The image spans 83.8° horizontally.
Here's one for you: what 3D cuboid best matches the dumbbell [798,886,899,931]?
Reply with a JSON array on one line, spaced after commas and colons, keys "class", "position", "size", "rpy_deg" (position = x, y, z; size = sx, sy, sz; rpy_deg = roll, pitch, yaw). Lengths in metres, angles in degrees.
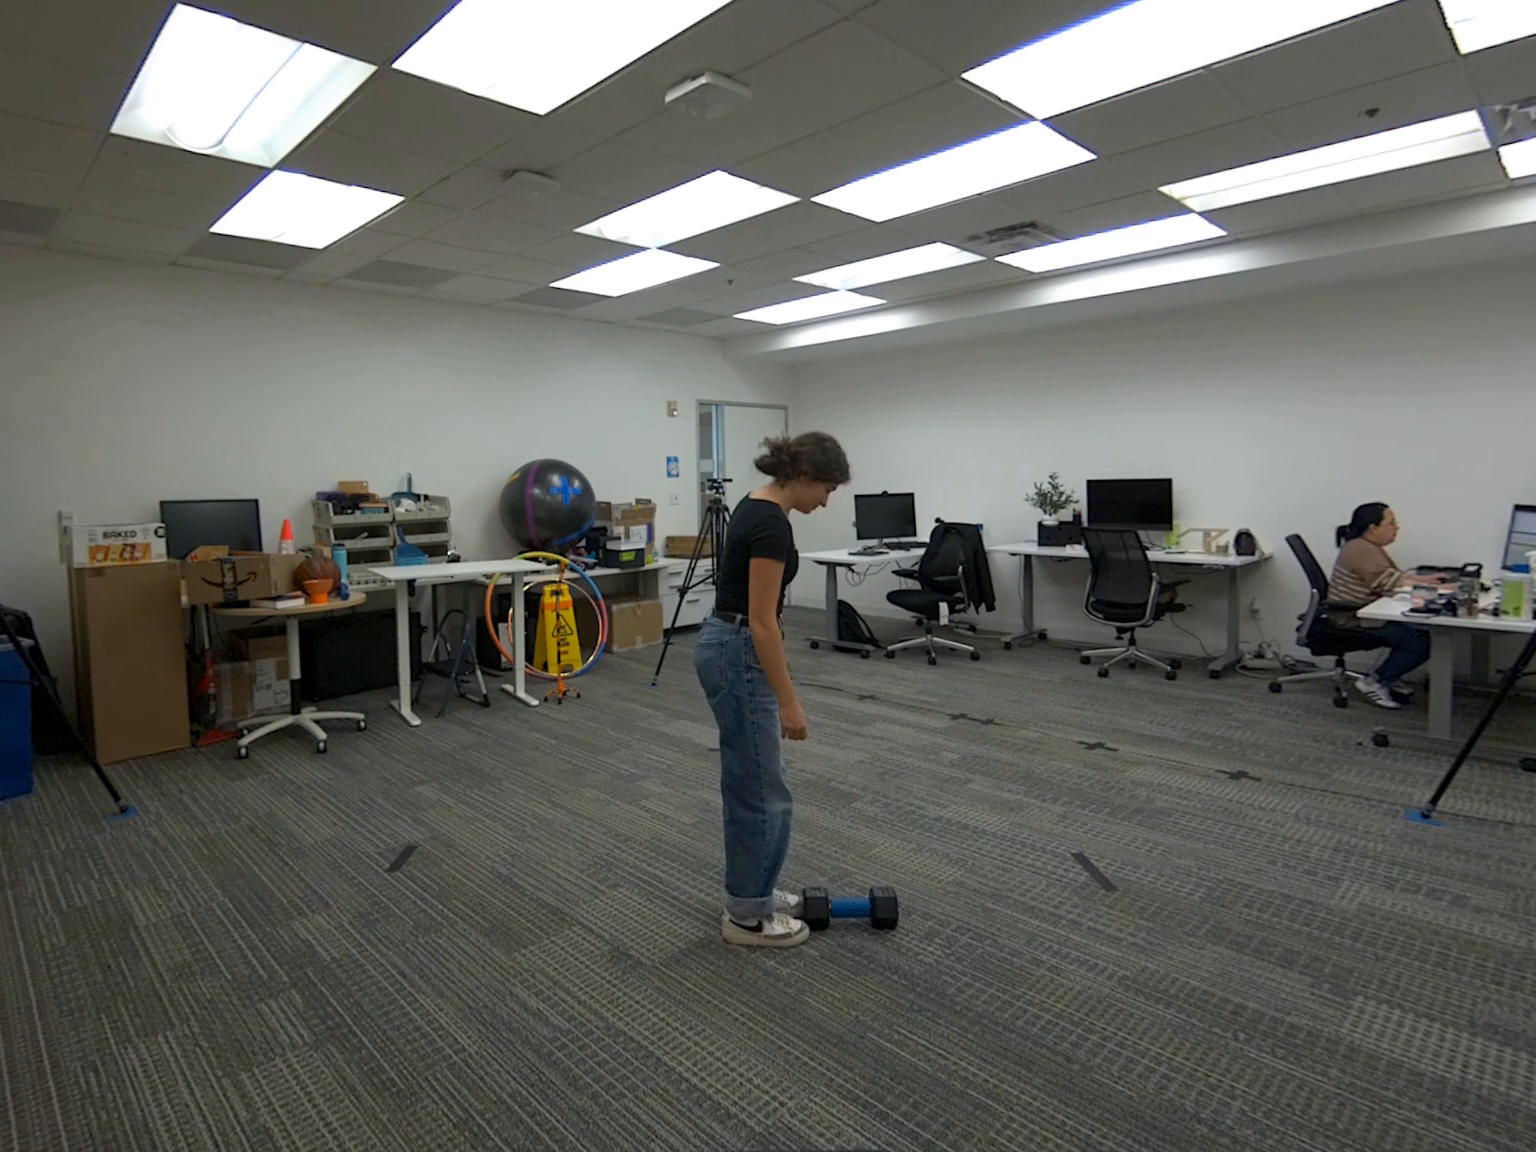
[{"class": "dumbbell", "position": [0.257, 1.030, 2.662], "size": [0.293, 0.125, 0.106], "rpy_deg": [-1, -24, 0]}]
